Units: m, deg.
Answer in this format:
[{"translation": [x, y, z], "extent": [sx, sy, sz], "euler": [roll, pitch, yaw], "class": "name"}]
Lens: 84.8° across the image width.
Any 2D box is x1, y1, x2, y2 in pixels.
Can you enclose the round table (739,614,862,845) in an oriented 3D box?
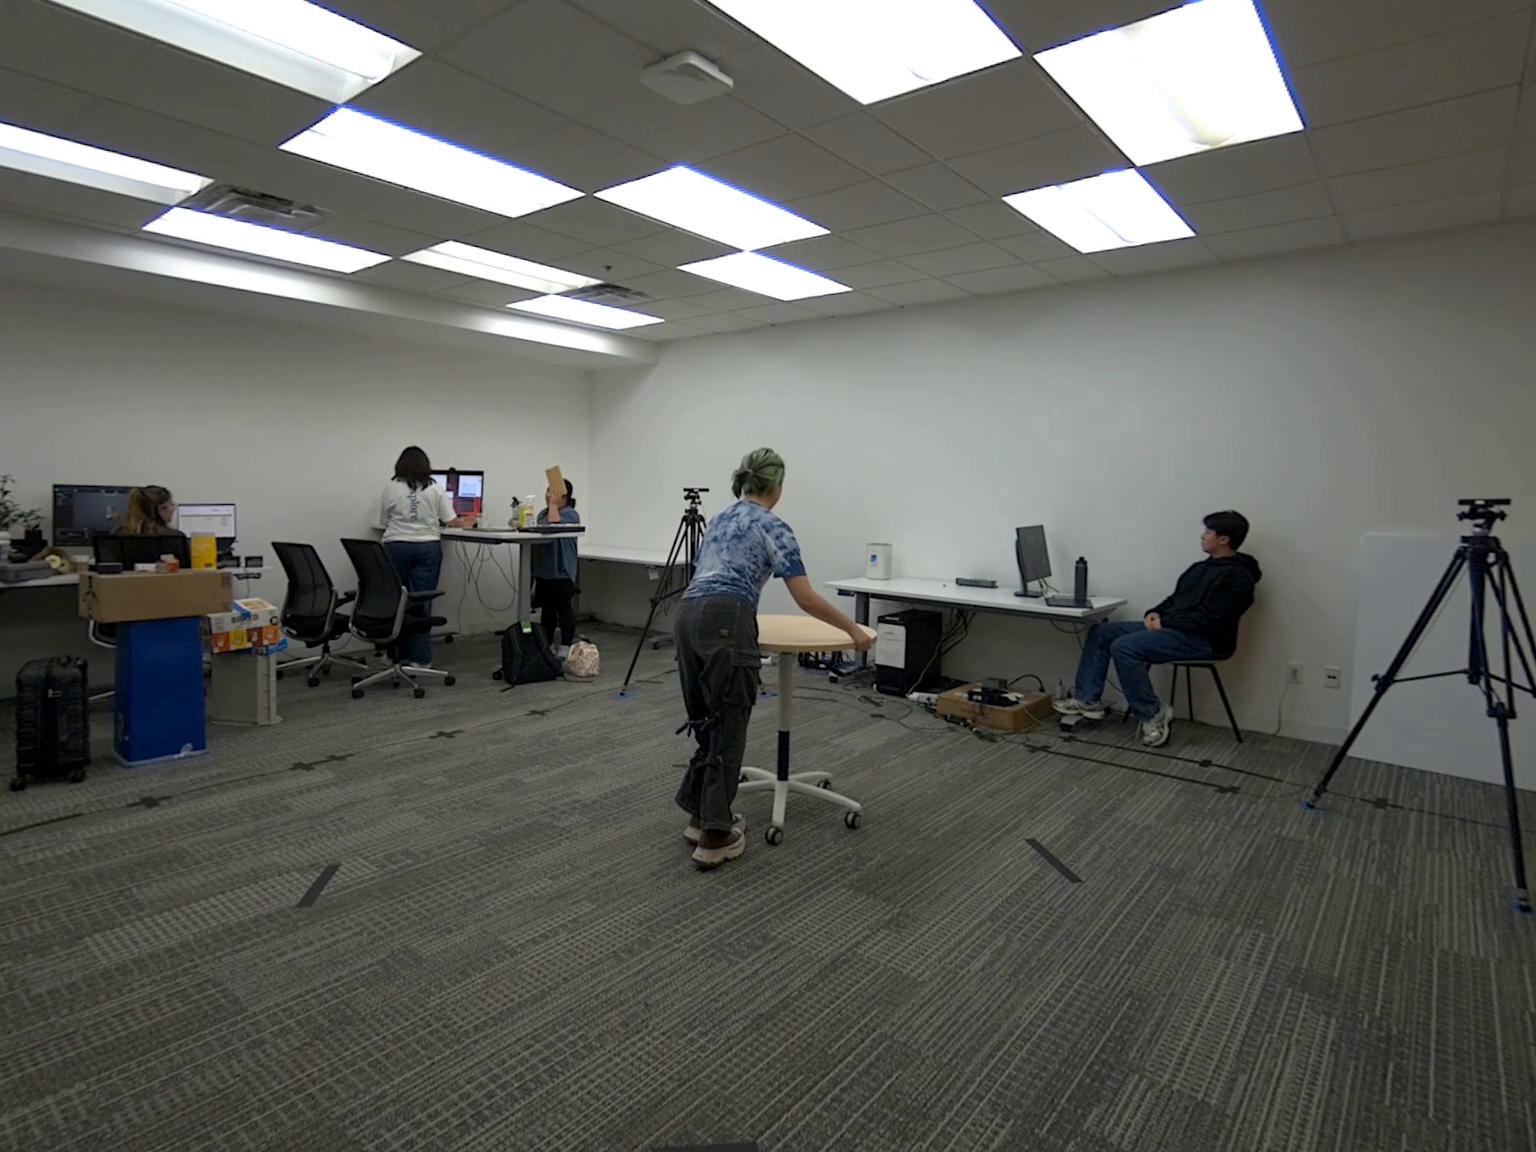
[{"translation": [0.061, 0.626, 3.681], "extent": [0.763, 0.792, 0.767], "euler": [2, 4, -2], "class": "round table"}]
